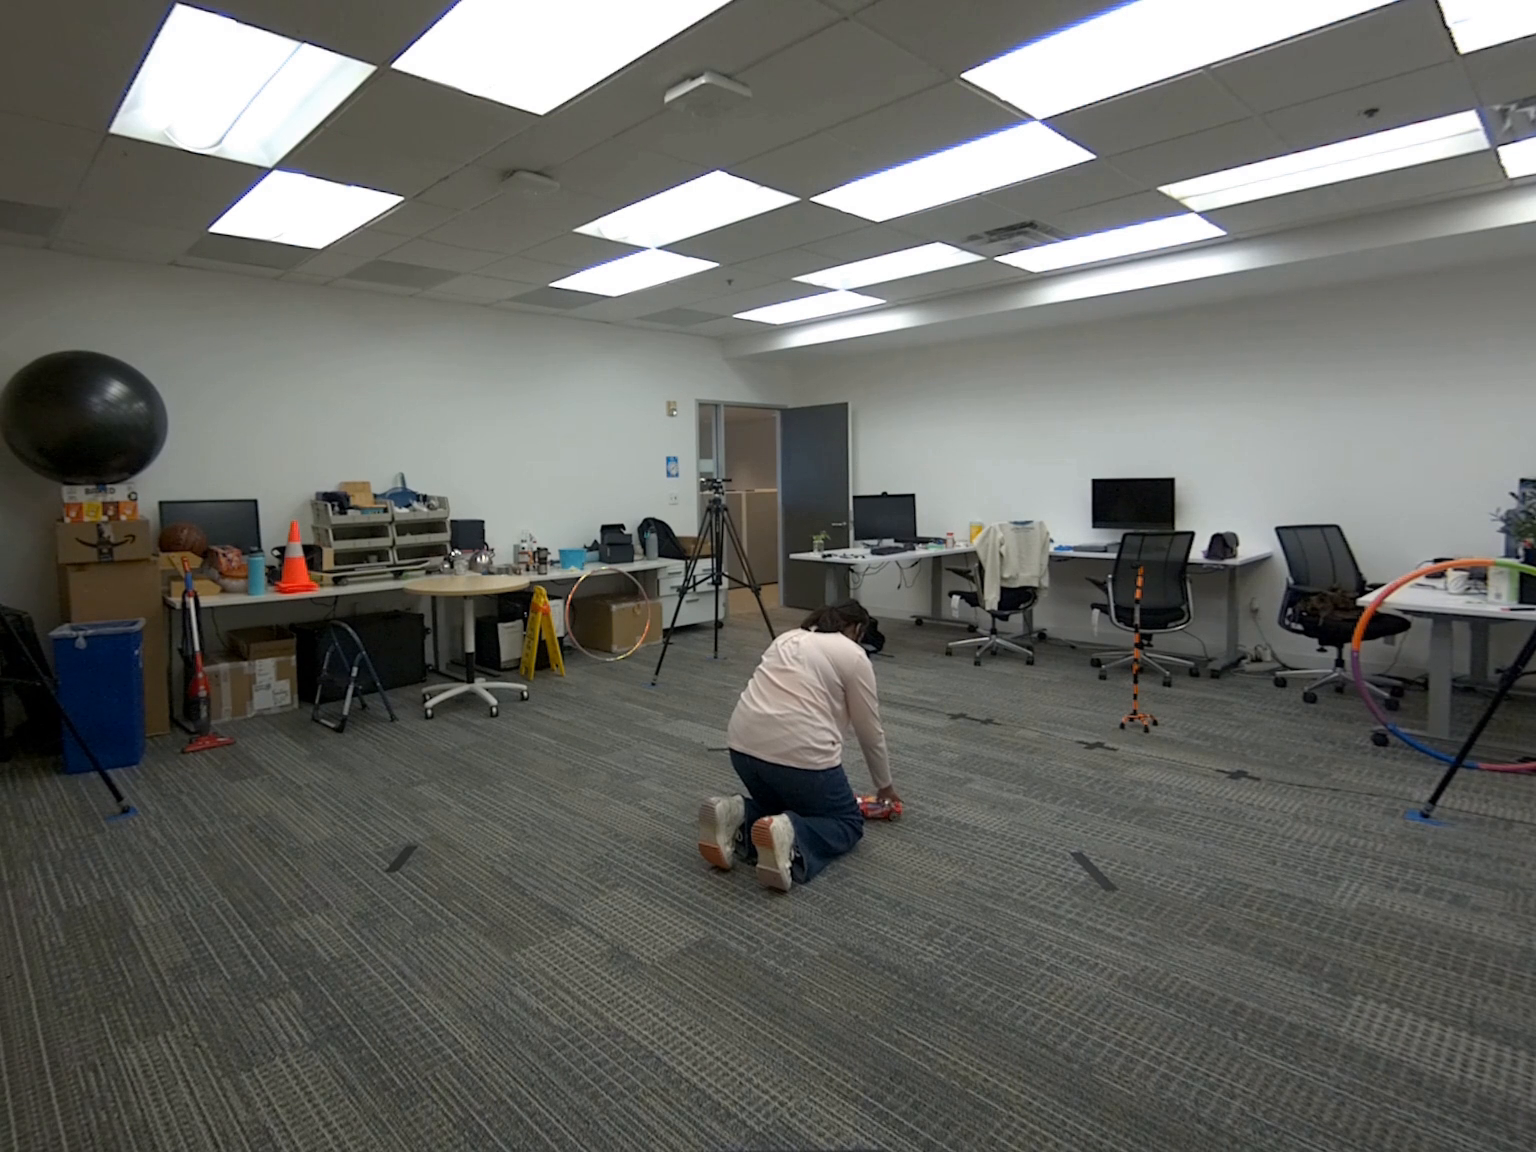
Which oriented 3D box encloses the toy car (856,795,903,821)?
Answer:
[{"bbox_3d":[0.412,0.954,3.517,0.255,0.083,0.130,12,5,2],"label":"toy car"}]
